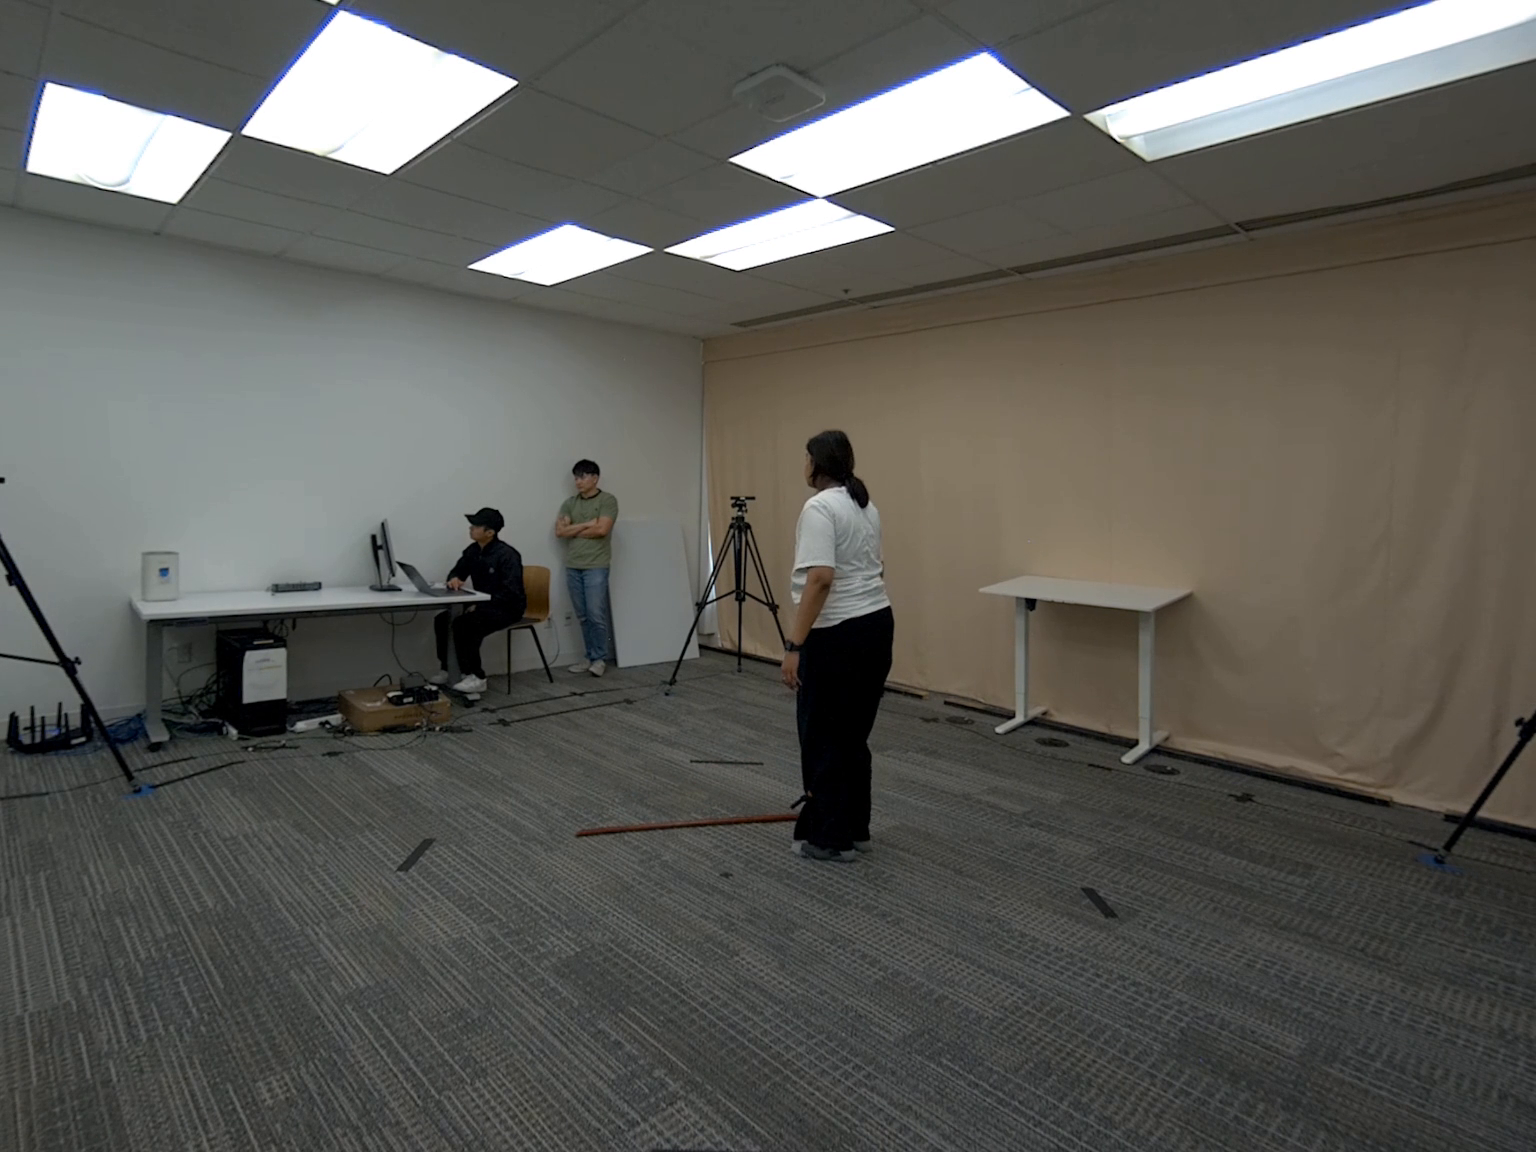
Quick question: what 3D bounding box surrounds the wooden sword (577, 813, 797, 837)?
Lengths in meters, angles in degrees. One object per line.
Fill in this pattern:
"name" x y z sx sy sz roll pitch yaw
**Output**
"wooden sword" -0.301 1.039 3.560 1.014 0.050 0.025 0 31 -13
